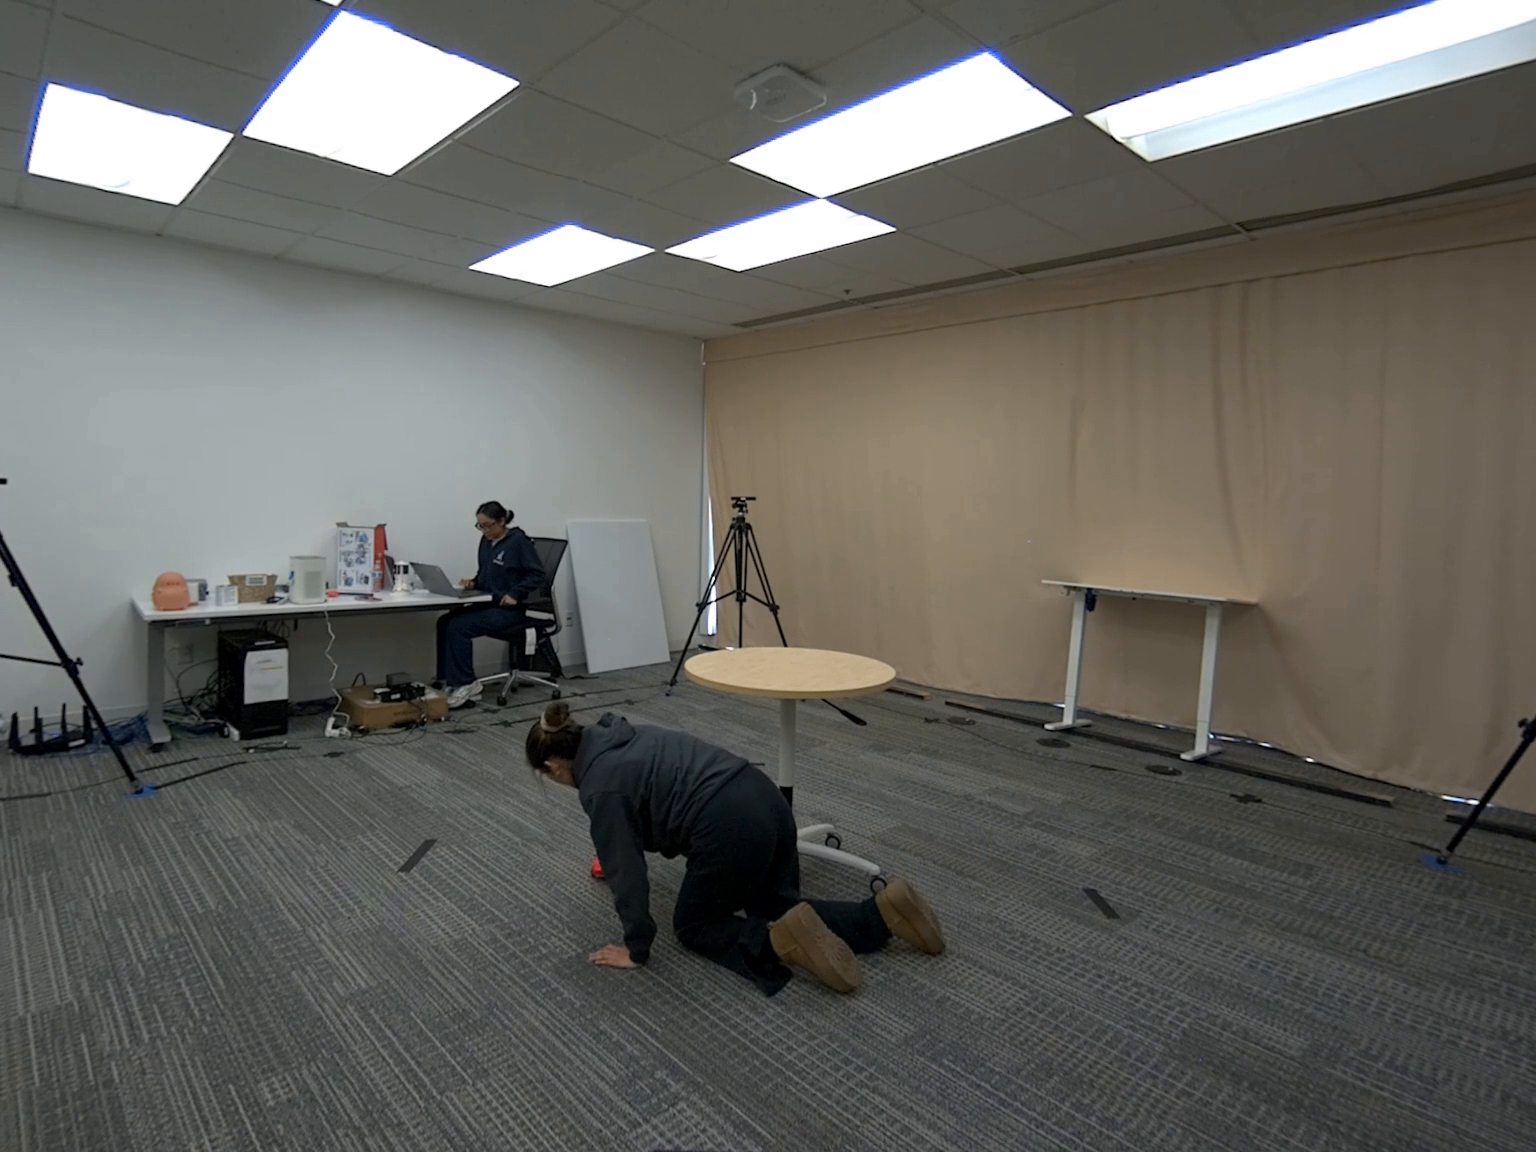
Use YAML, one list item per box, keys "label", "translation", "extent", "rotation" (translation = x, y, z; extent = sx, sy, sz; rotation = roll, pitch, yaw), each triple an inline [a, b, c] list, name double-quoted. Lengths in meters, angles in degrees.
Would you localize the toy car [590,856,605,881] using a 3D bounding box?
- label: "toy car"
  translation: [-0.595, 1.065, 3.141]
  extent: [0.130, 0.084, 0.253]
  rotation: [3, -7, -2]
